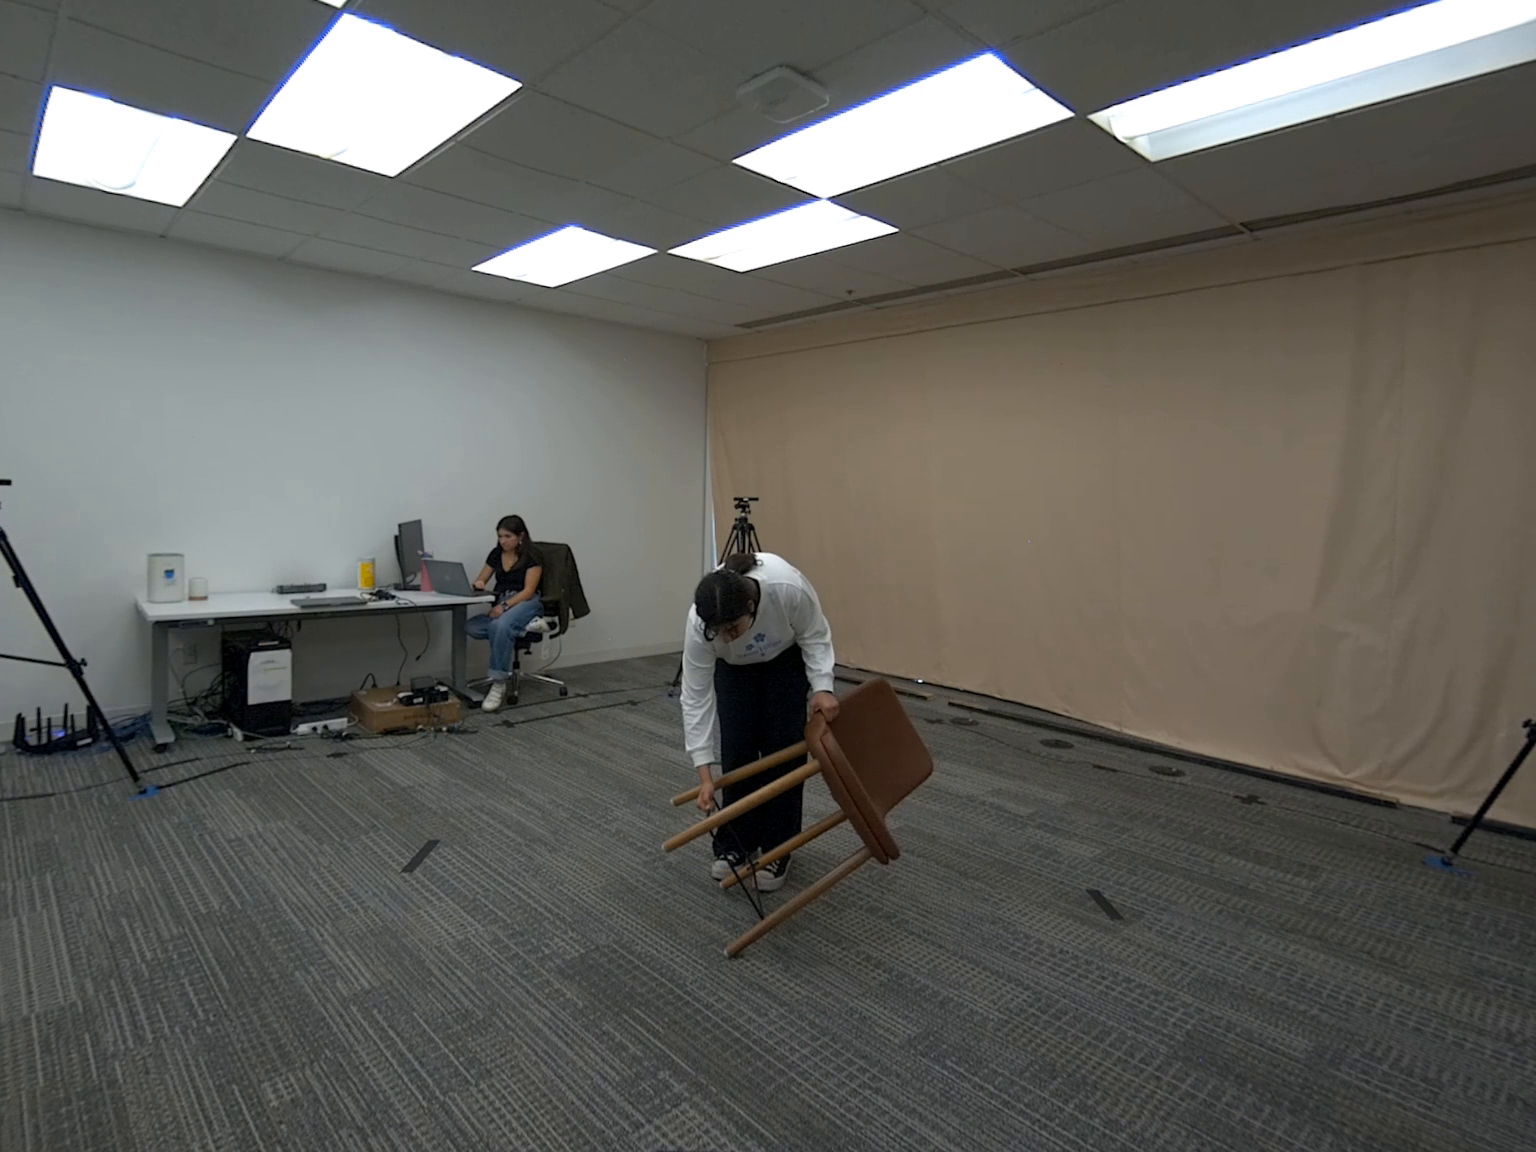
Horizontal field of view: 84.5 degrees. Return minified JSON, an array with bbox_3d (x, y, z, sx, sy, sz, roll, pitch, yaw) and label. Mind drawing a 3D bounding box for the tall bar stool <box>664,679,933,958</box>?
[{"bbox_3d":[0.134,0.748,2.762,0.889,0.455,0.469,-30,4,-3],"label":"tall bar stool"}]
